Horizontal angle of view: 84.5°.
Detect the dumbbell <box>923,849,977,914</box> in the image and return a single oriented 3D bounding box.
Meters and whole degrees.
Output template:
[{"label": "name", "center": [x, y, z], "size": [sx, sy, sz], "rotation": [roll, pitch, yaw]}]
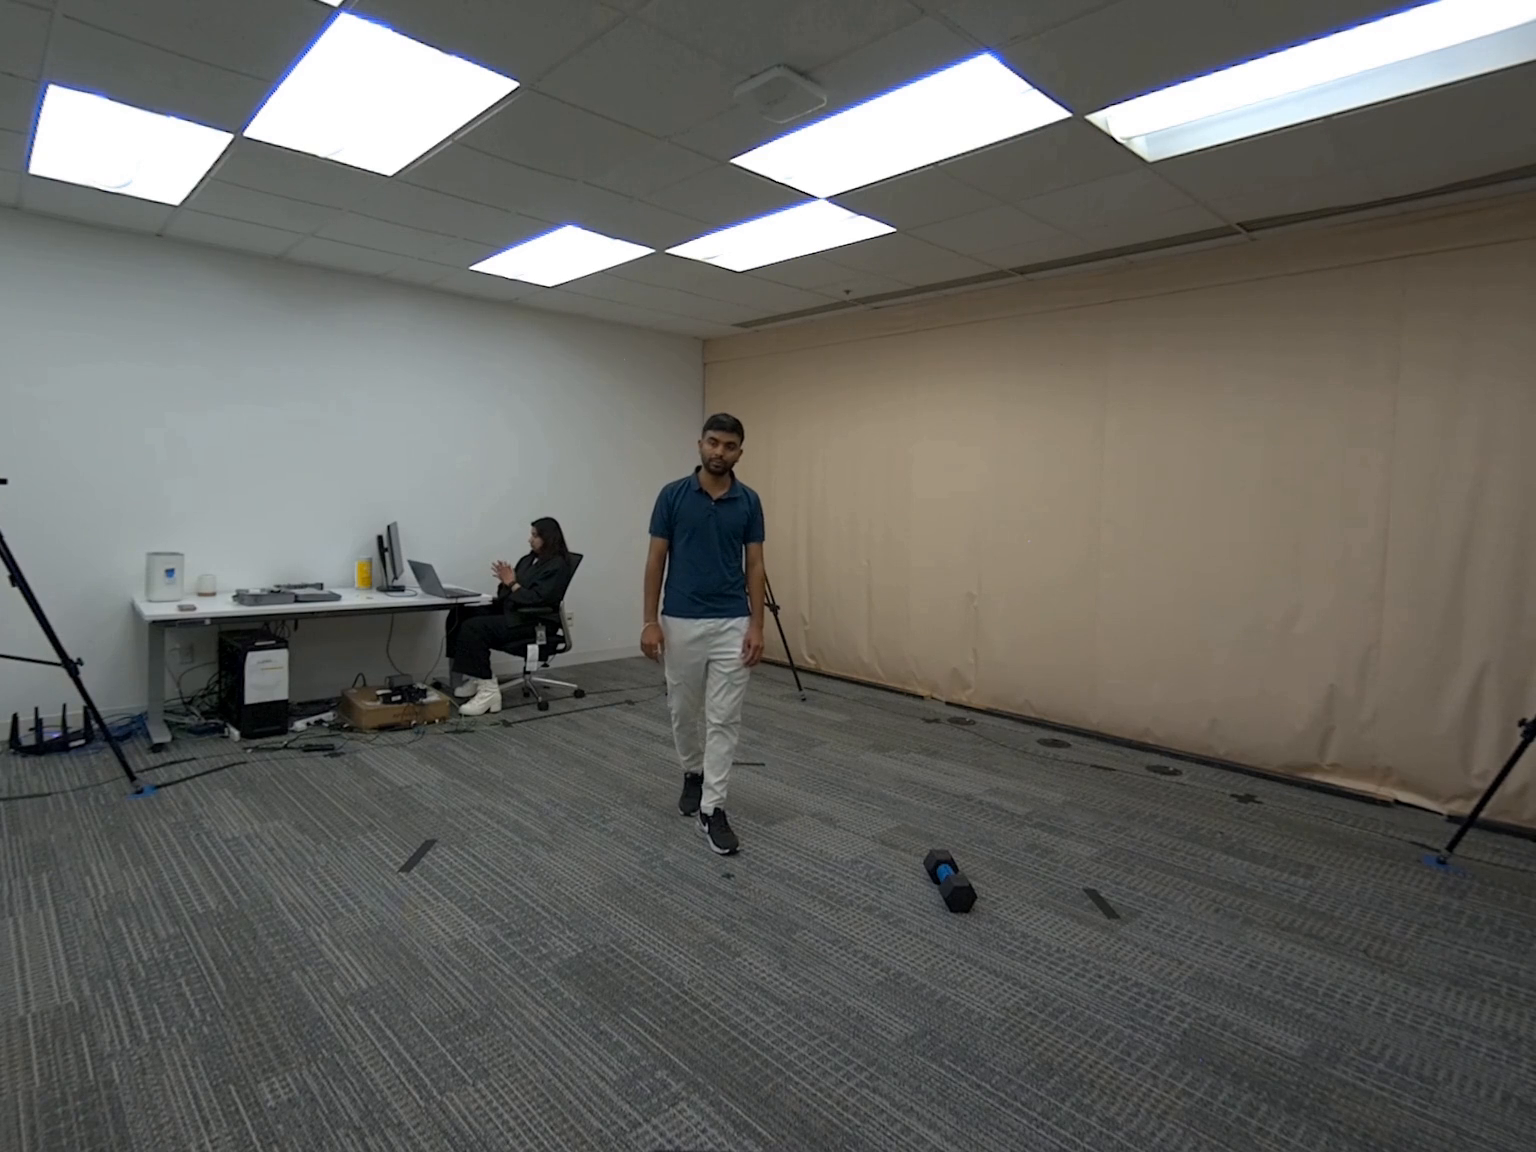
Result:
[{"label": "dumbbell", "center": [0.638, 1.082, 3.003], "size": [0.123, 0.108, 0.295], "rotation": [2, 5, -3]}]
